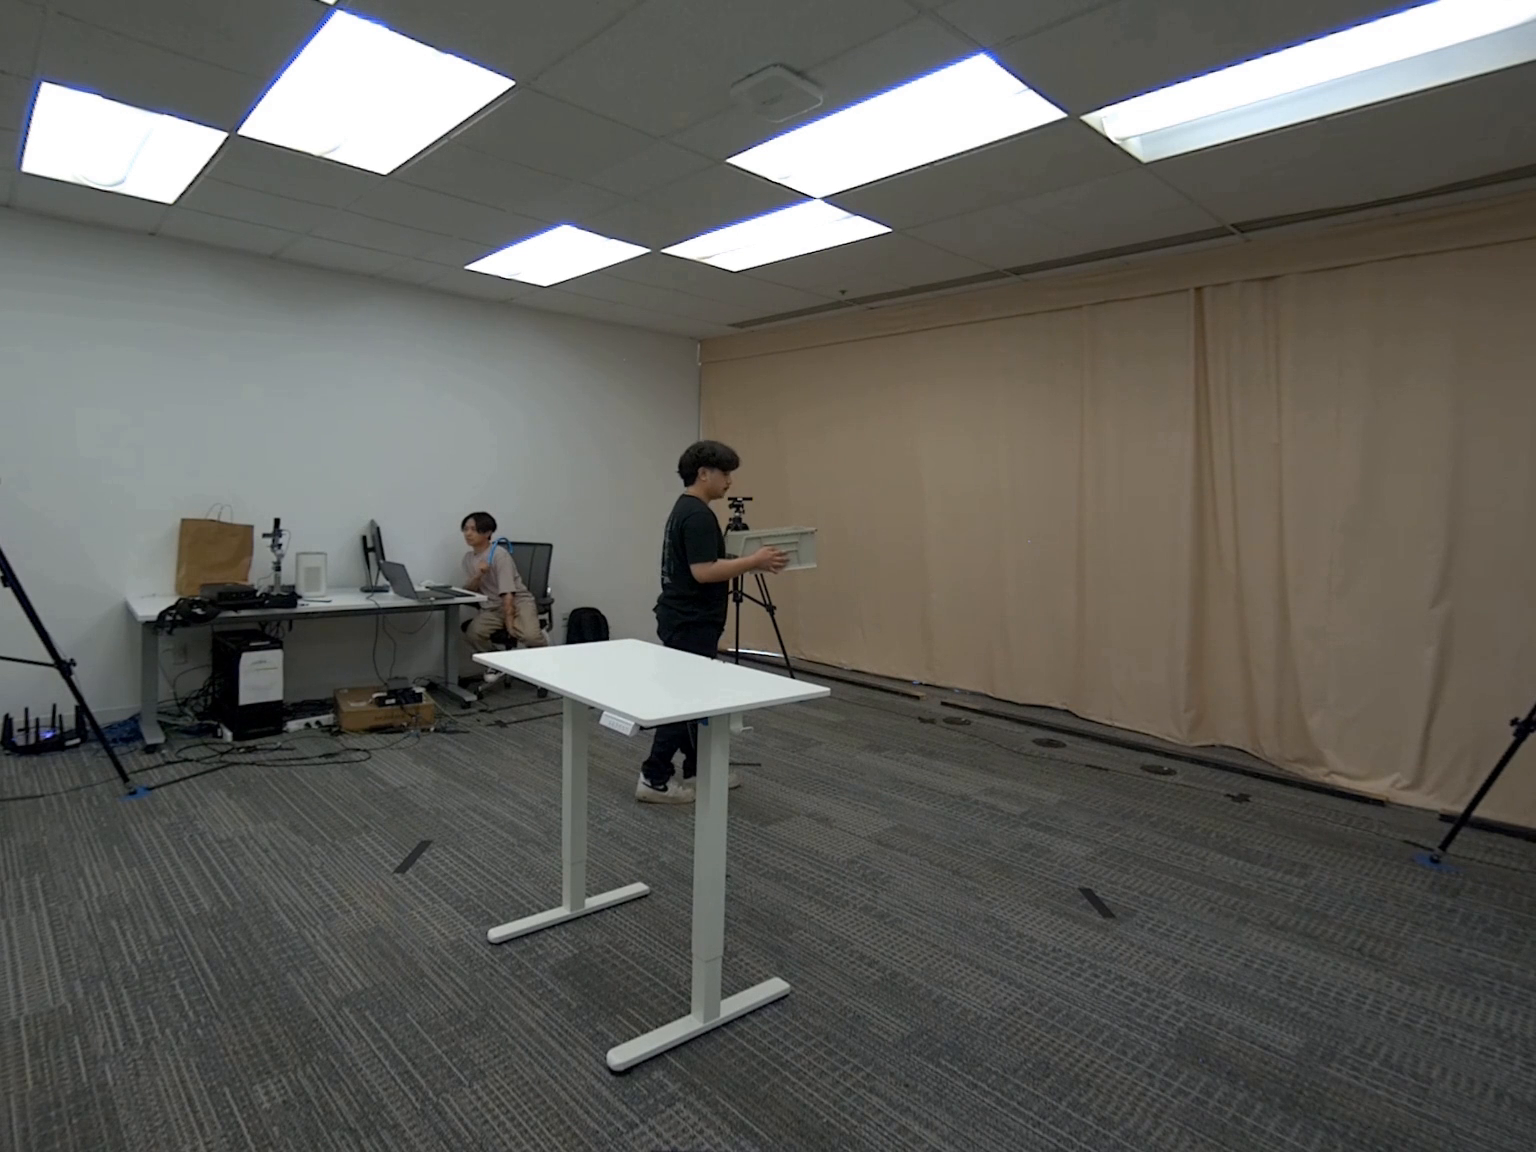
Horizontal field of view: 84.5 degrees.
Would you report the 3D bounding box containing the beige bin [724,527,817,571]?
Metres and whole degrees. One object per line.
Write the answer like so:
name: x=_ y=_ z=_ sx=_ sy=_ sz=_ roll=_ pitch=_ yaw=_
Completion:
beige bin: x=-0.006 y=-0.128 z=4.027 sx=0.375 sy=0.188 sz=0.426 roll=-4 pitch=5 yaw=-9
